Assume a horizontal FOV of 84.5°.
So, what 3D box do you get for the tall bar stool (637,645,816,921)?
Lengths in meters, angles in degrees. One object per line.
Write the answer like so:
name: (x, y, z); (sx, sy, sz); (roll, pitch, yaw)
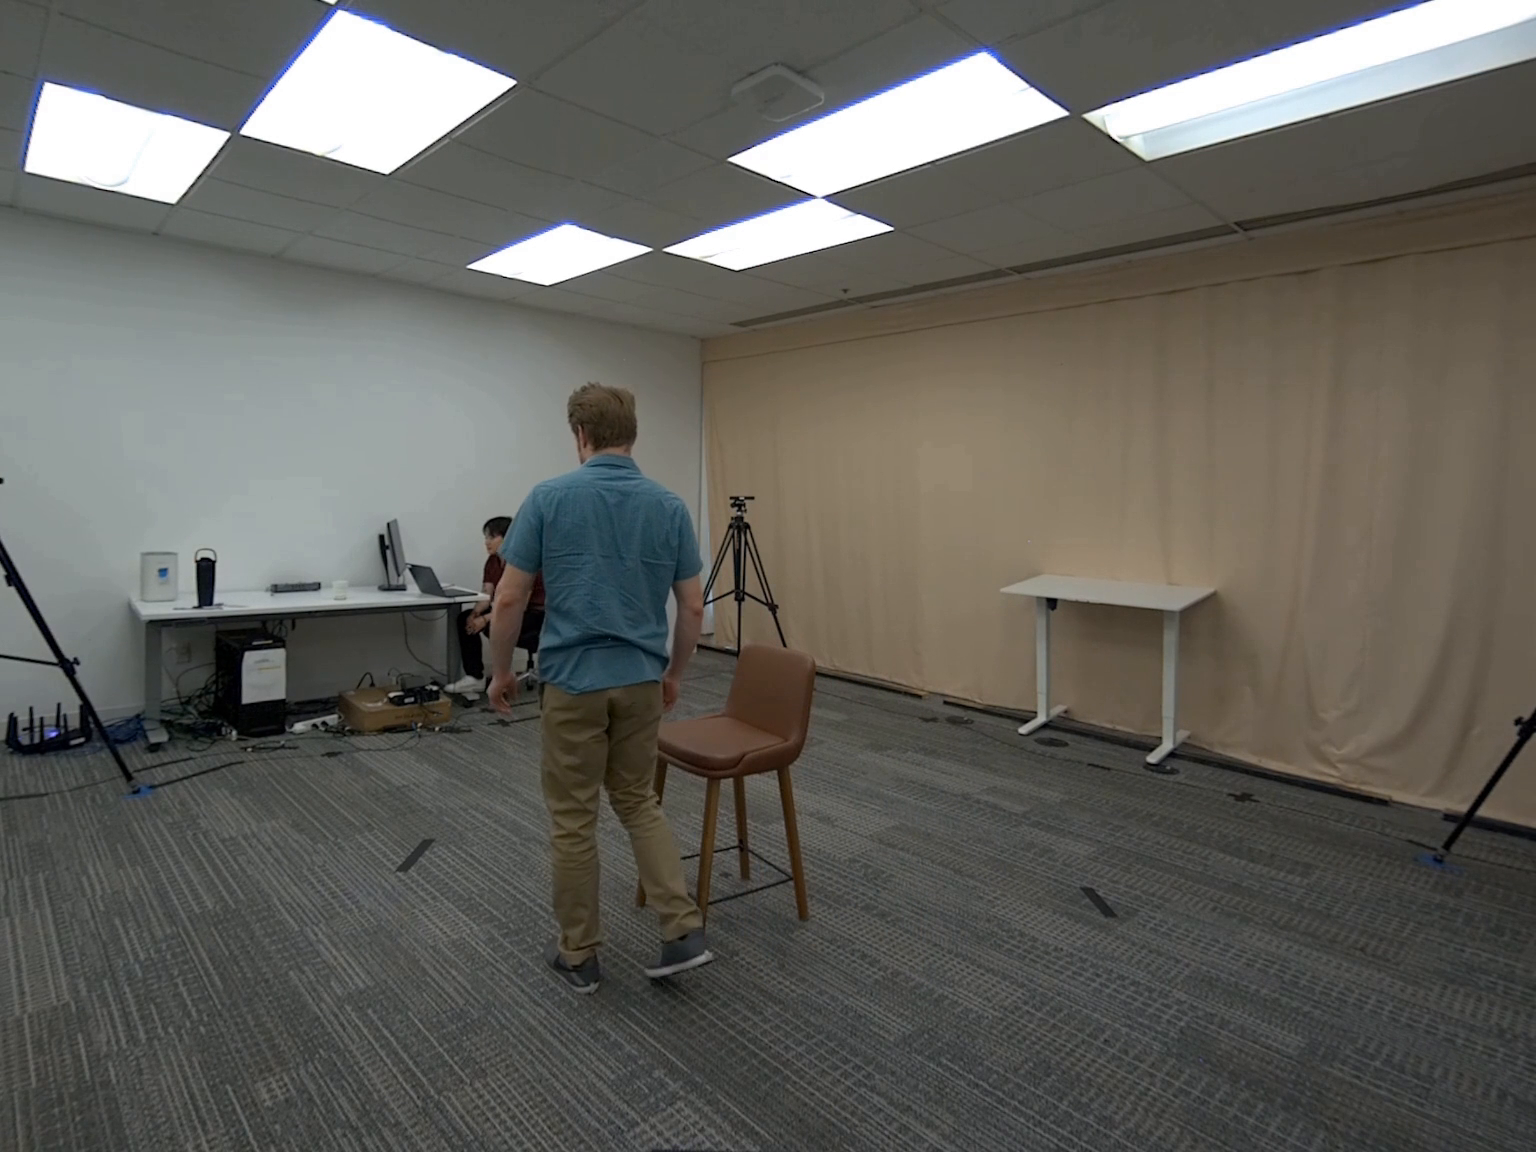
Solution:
tall bar stool: (-0.142, 0.698, 2.800); (0.457, 0.888, 0.467); (1, 3, -34)
